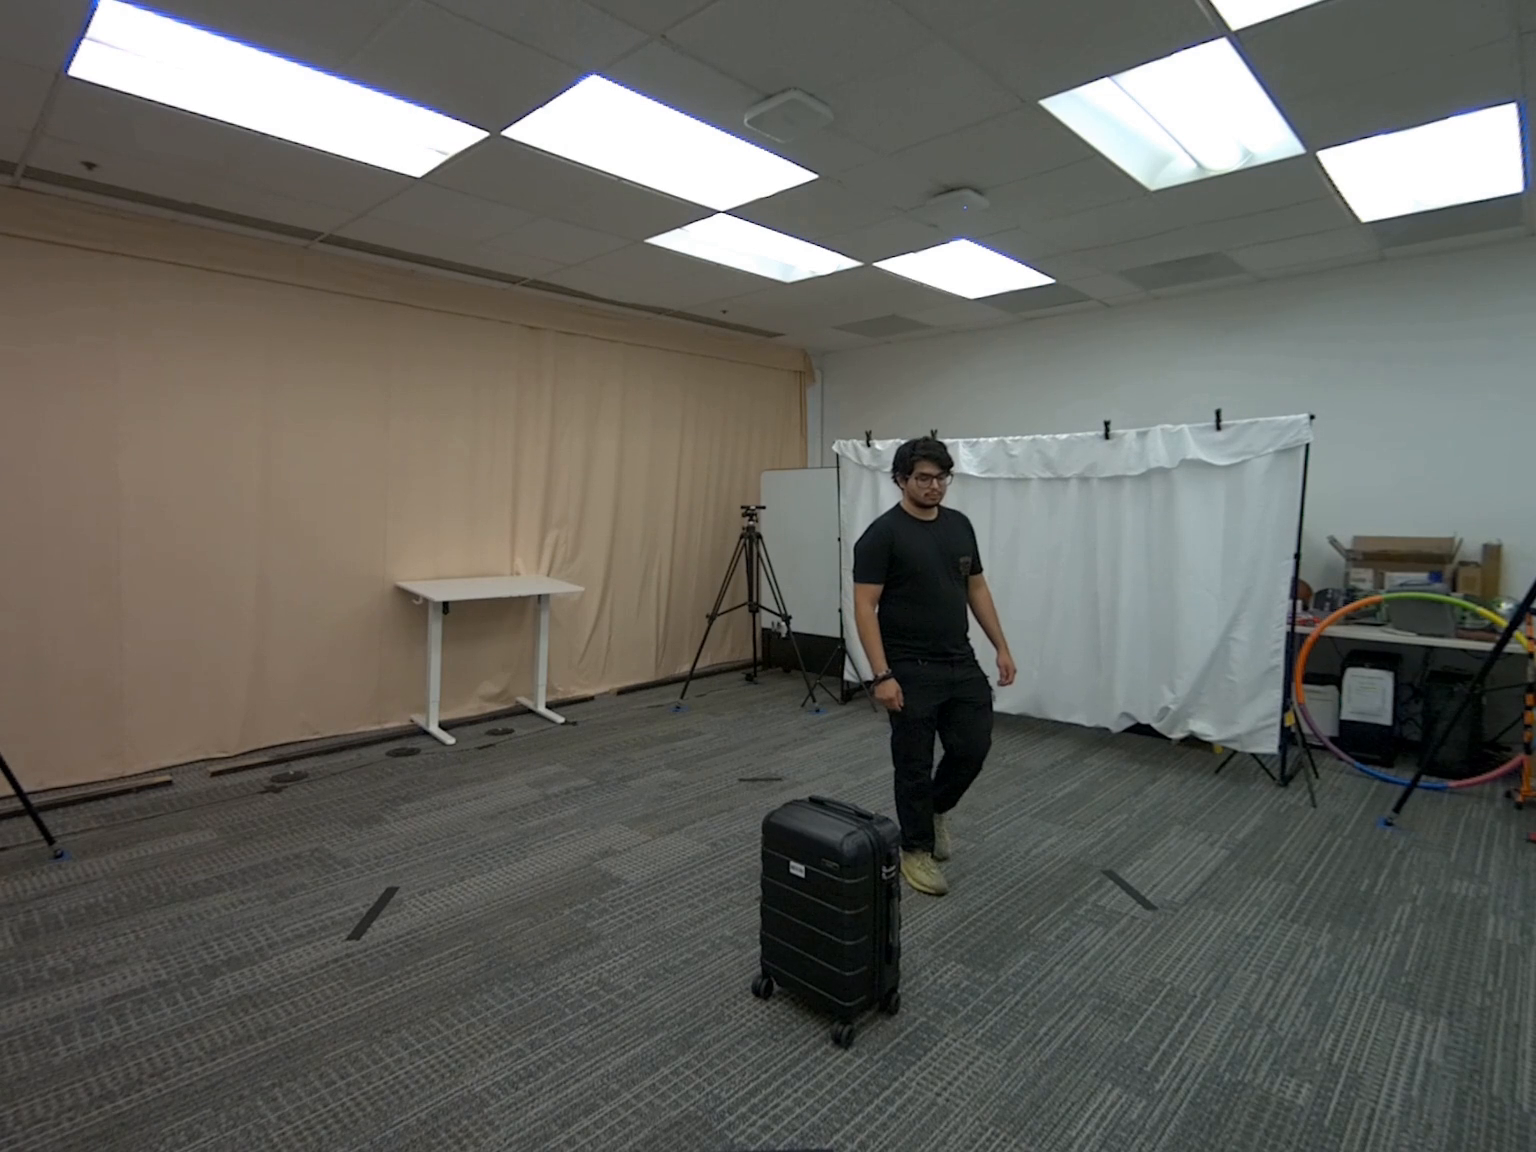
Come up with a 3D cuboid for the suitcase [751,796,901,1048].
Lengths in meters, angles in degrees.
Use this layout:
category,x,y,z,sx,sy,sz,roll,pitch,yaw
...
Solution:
category,x,y,z,sx,sy,sz,roll,pitch,yaw
suitcase,0.177,0.921,2.346,0.388,0.548,0.240,4,3,44
